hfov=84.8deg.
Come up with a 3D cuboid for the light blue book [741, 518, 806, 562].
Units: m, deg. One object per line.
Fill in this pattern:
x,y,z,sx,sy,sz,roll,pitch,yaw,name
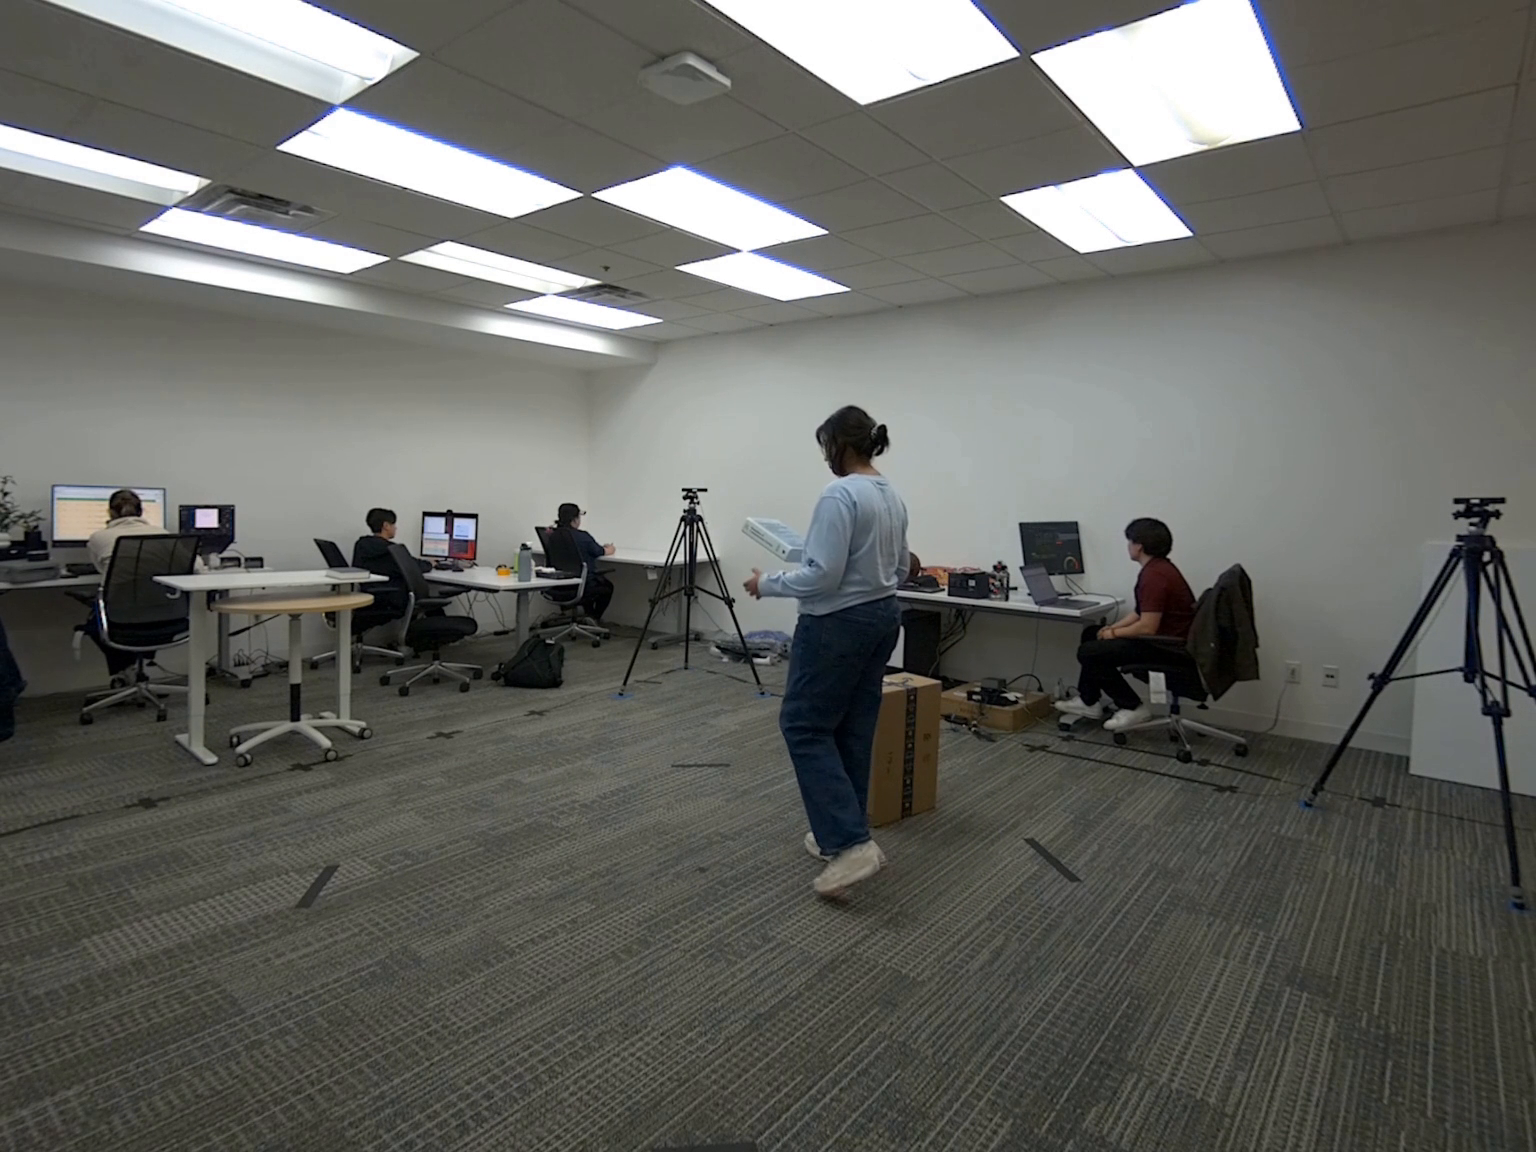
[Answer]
0.052,-0.141,3.312,0.185,0.058,0.272,1,25,-47,light blue book
